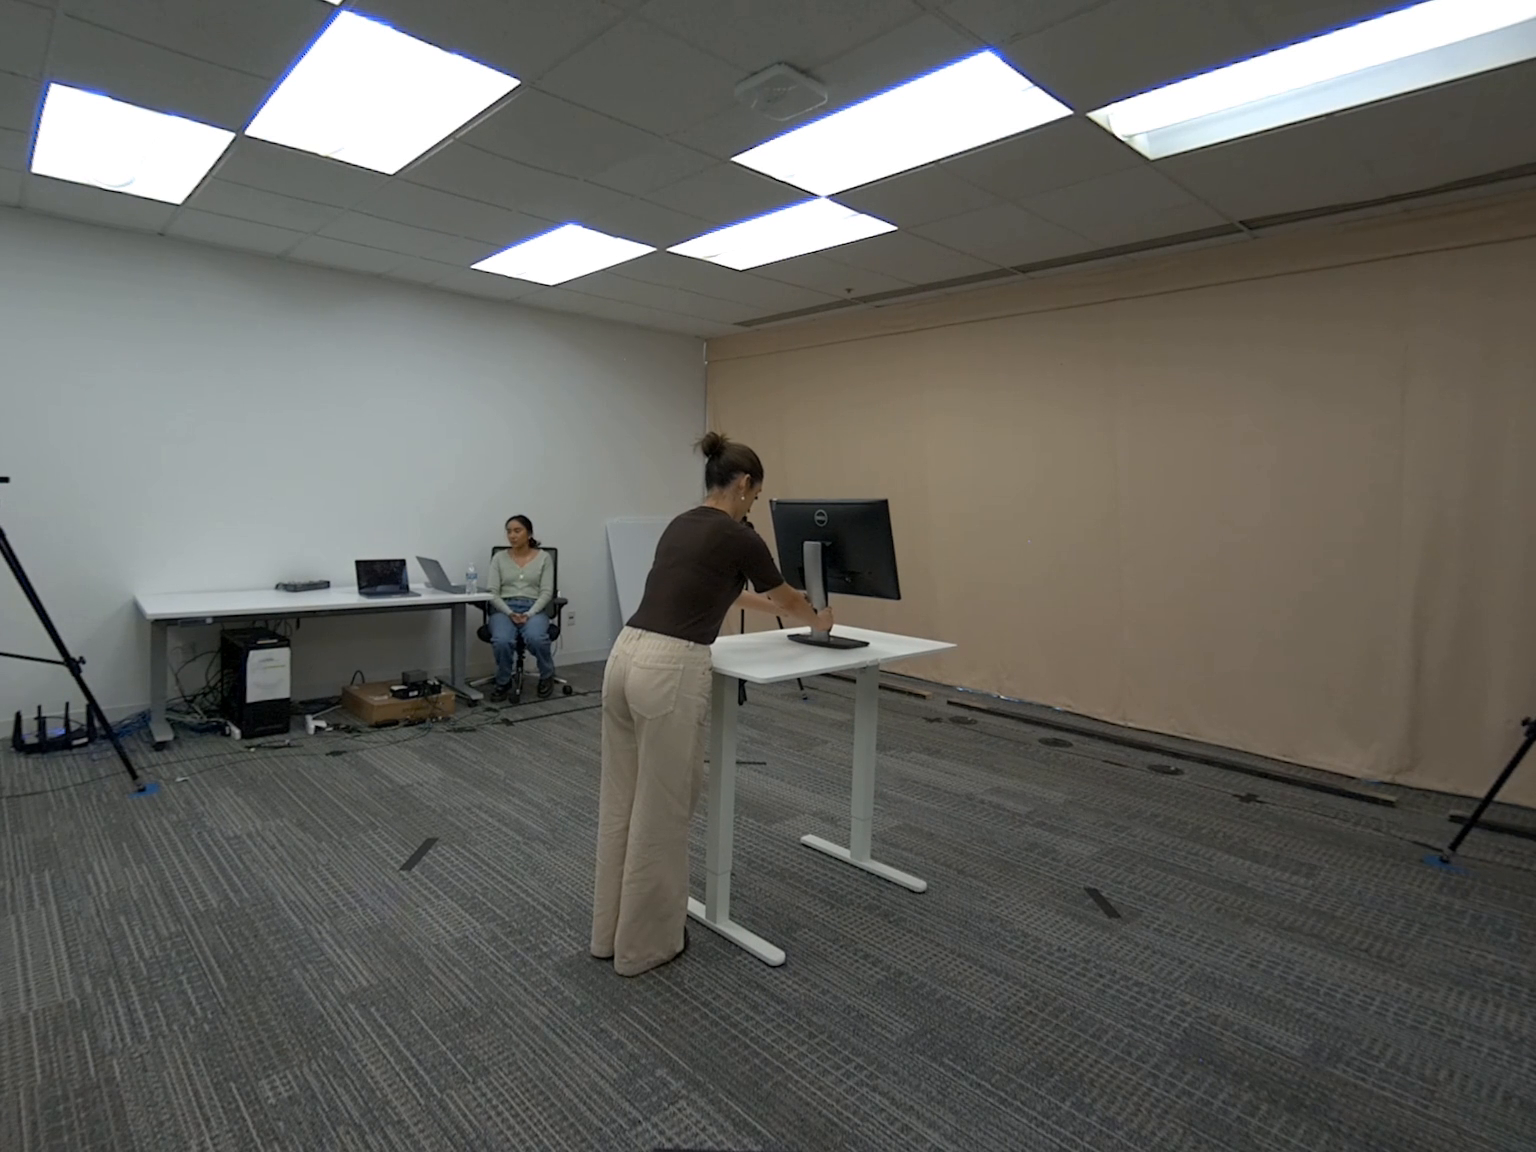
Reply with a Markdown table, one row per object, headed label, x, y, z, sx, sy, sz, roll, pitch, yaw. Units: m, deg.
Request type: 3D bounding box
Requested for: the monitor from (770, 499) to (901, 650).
| label | x | y | z | sx | sy | sz | roll | pitch | yaw |
| --- | --- | --- | --- | --- | --- | --- | --- | --- | --- |
| monitor | 0.208 | -0.015 | 2.985 | 0.543 | 0.516 | 0.170 | 4 | 1 | 44 |
